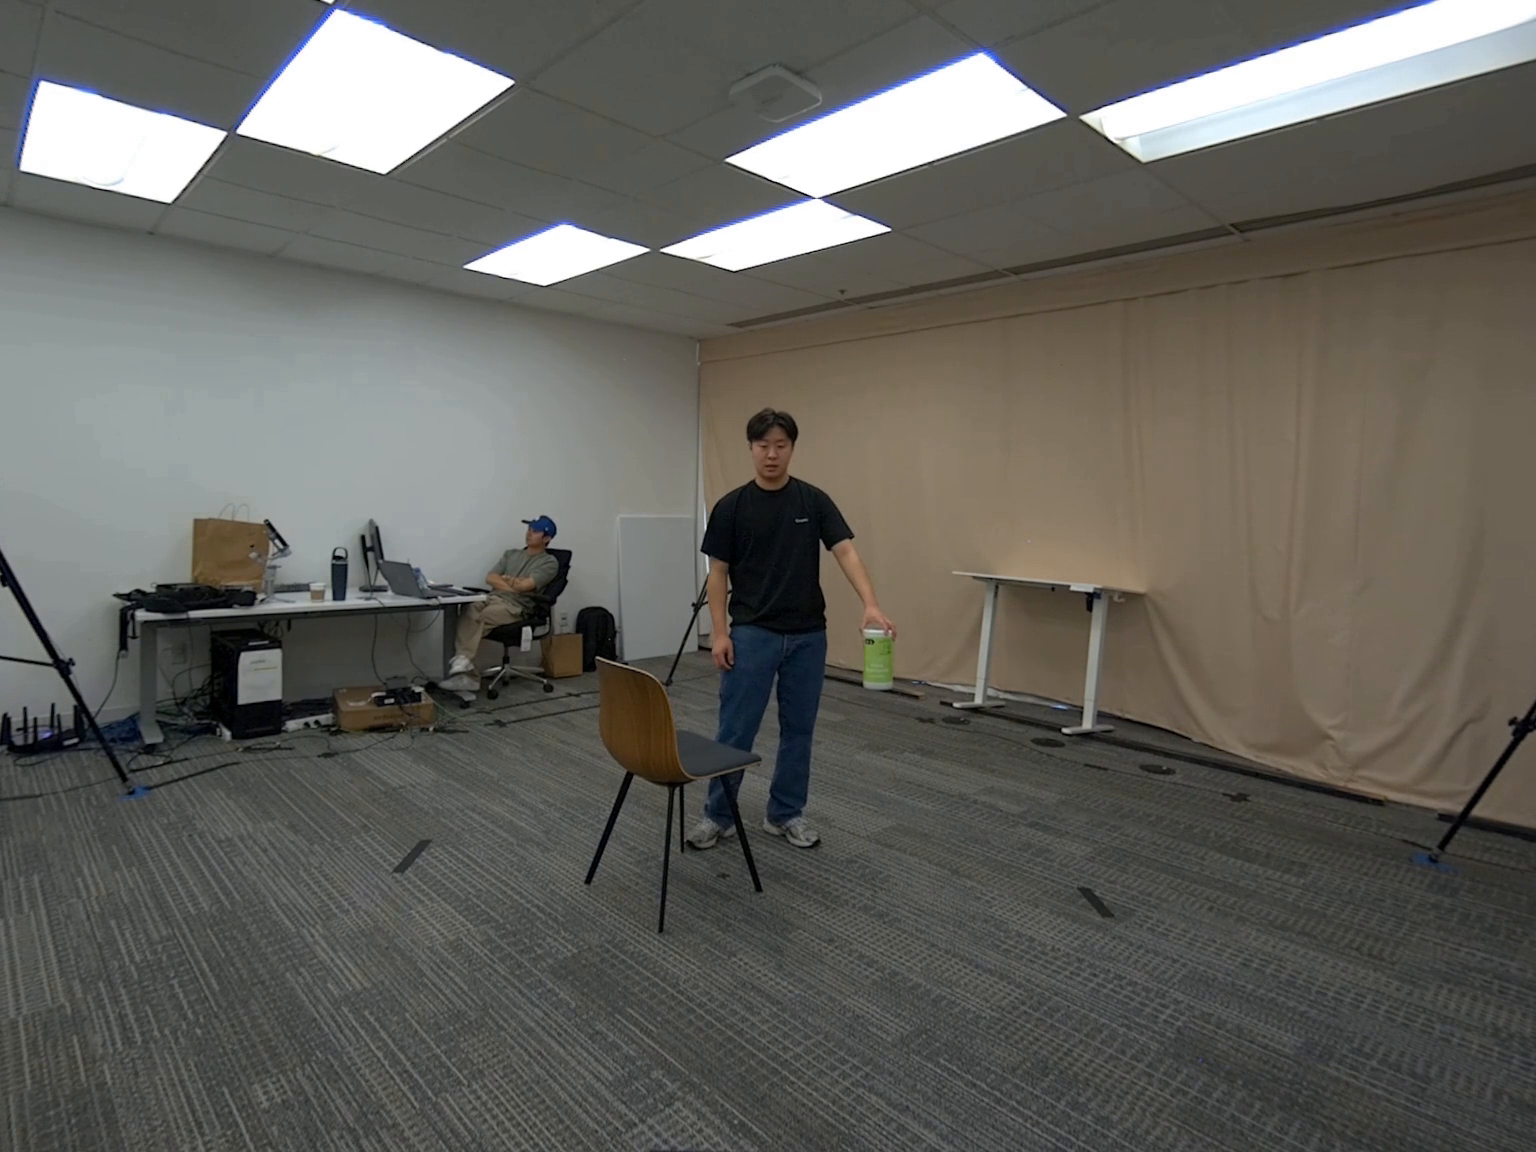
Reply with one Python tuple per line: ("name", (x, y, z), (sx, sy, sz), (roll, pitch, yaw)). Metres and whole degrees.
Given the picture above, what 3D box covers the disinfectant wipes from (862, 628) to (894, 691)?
("disinfectant wipes", (0.400, 0.305, 3.104), (0.118, 0.217, 0.118), (1, 1, -1))
